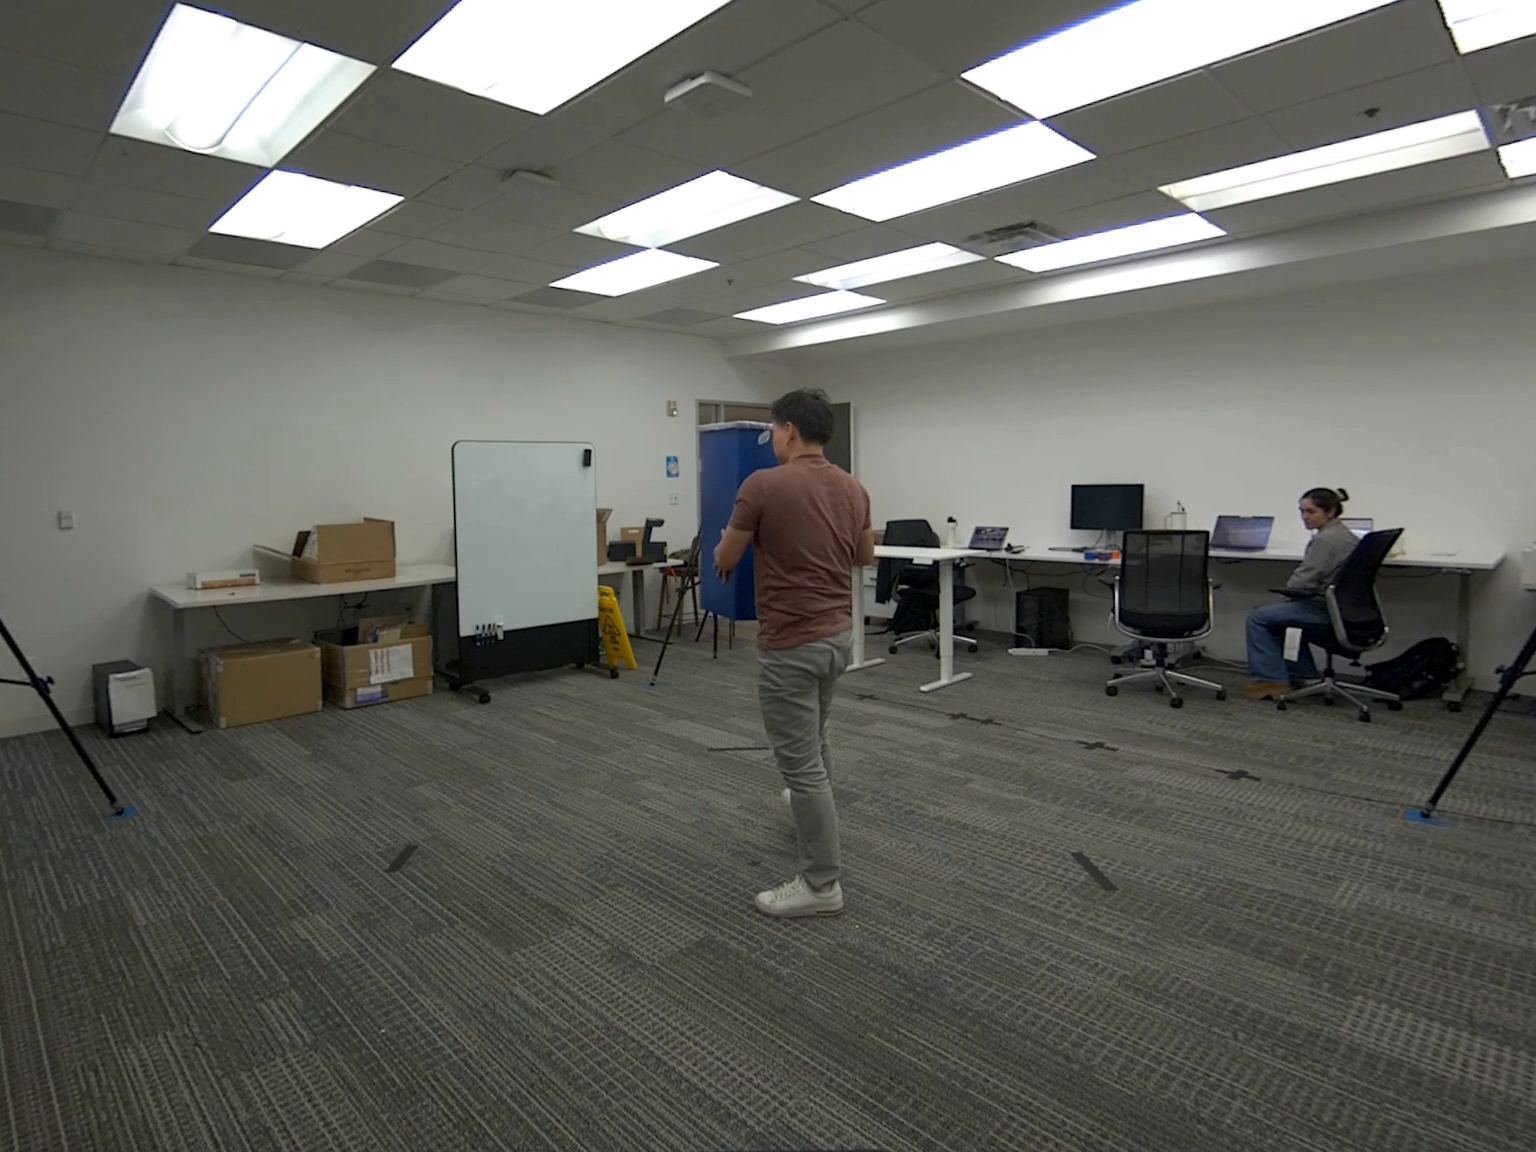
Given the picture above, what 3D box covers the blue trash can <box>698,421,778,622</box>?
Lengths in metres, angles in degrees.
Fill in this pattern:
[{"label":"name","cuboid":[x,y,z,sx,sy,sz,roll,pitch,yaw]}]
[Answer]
[{"label":"blue trash can","cuboid":[-0.054,-0.216,3.267,0.369,0.711,0.384,1,4,-28]}]
